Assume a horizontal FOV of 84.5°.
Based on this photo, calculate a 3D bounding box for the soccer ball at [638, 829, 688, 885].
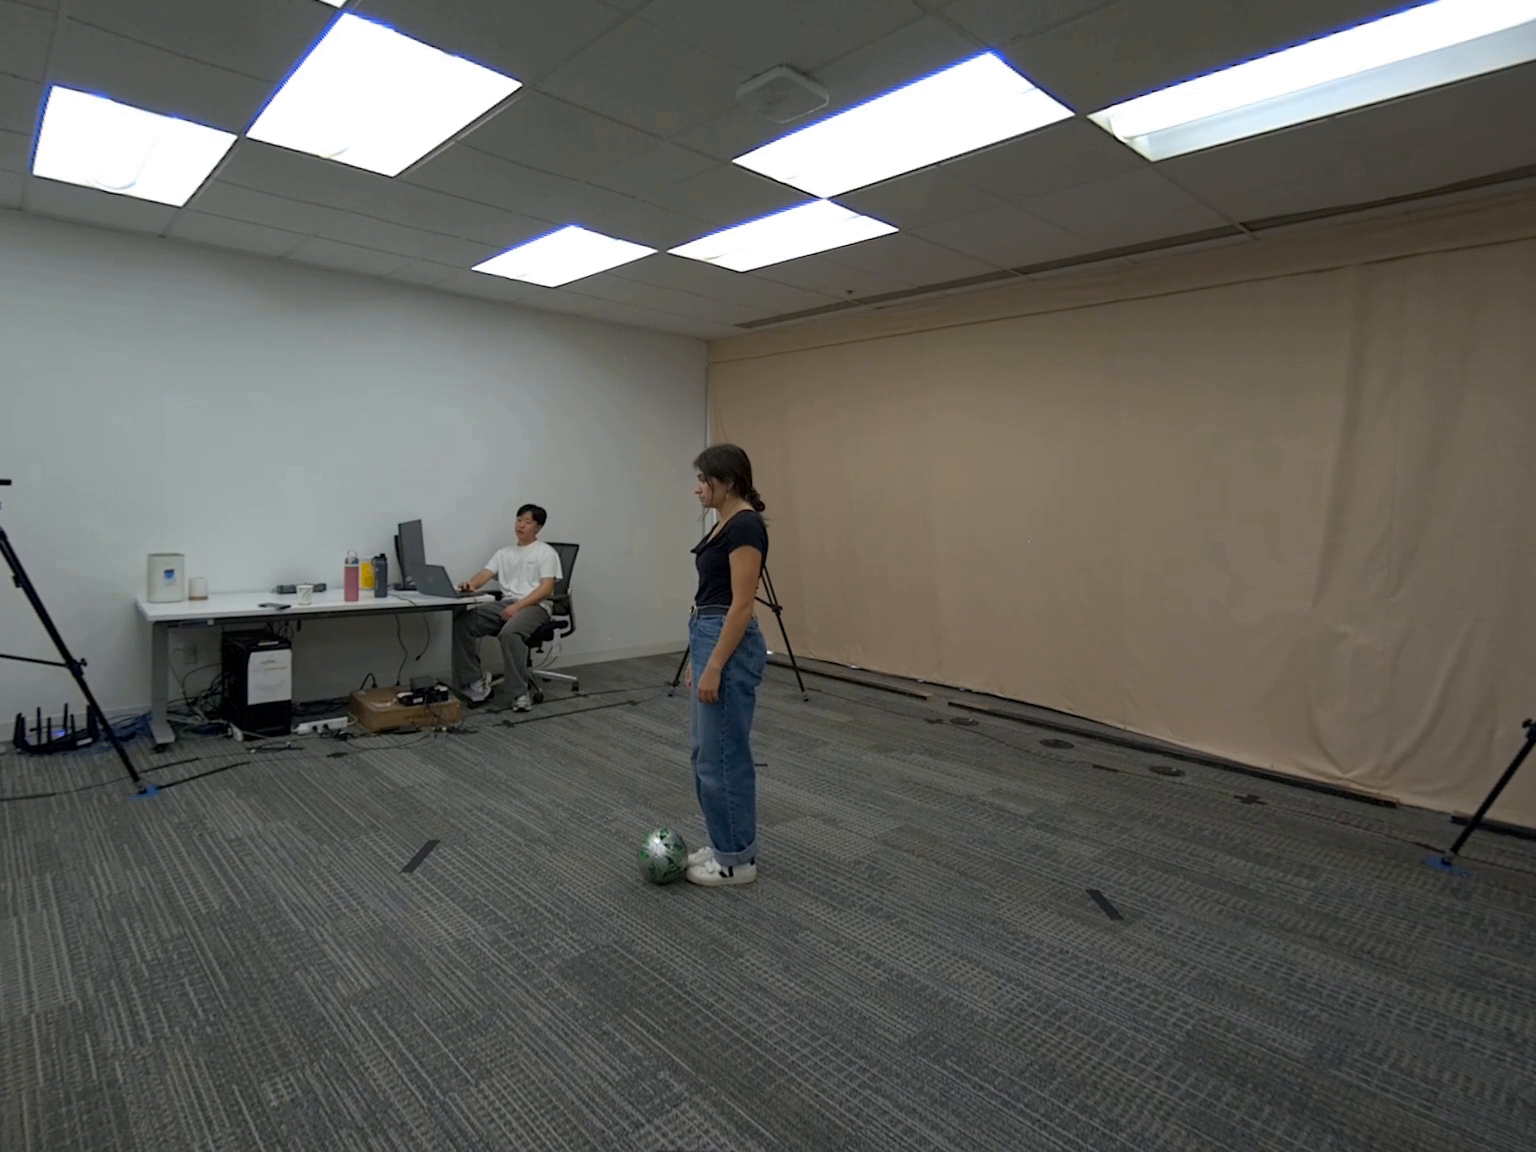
[{"bbox_3d":[-0.382,1.011,3.059,0.187,0.187,0.188,1,4,-1],"label":"soccer ball"}]
